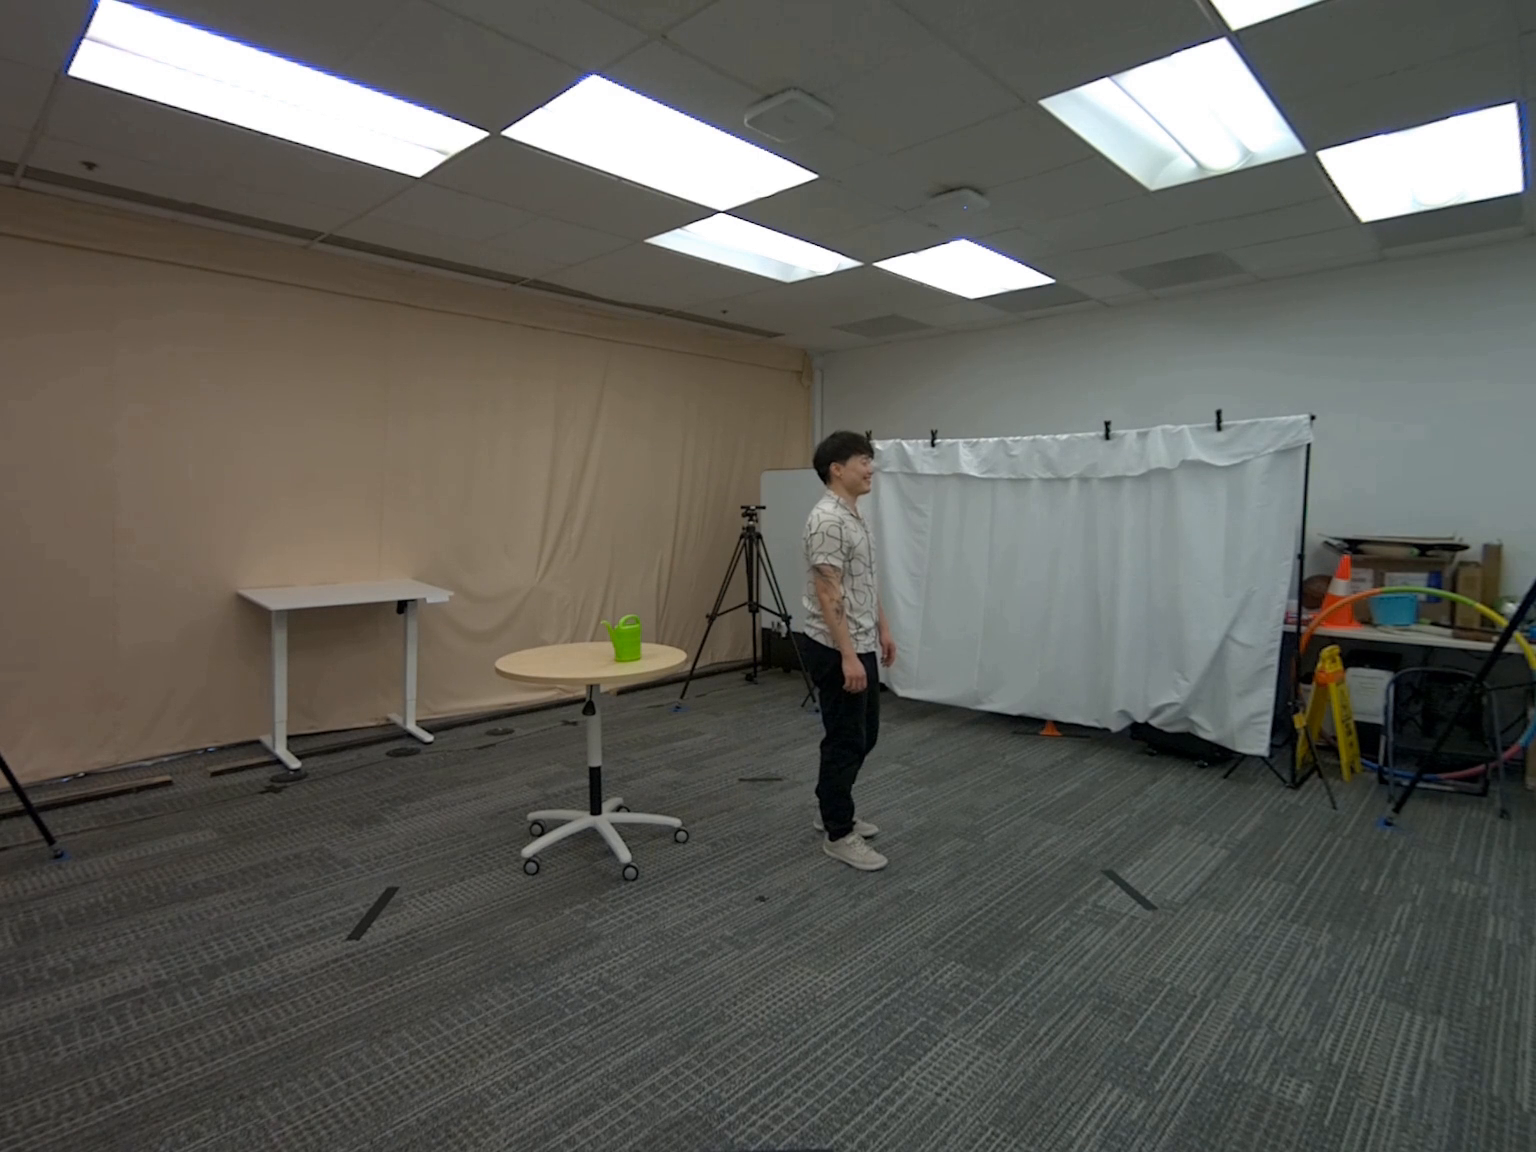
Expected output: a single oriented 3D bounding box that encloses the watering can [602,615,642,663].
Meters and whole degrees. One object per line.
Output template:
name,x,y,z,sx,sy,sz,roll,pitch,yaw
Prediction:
watering can,-0.585,0.251,3.340,0.101,0.176,0.270,0,2,34
